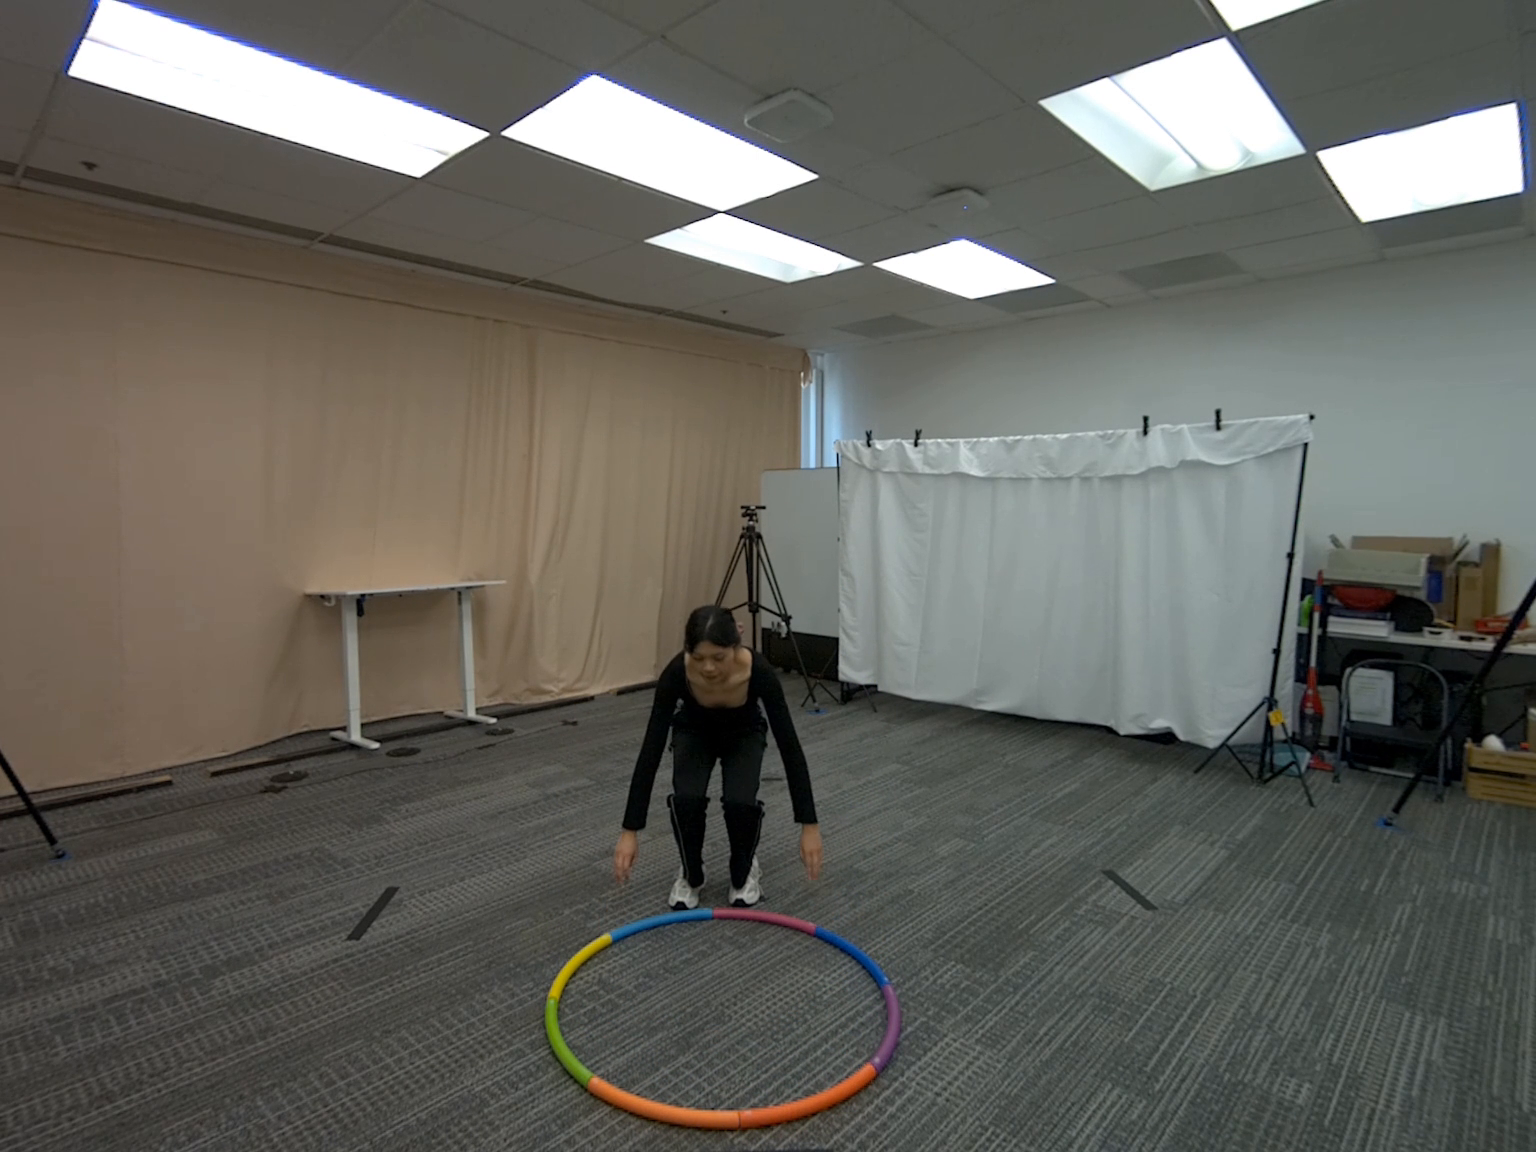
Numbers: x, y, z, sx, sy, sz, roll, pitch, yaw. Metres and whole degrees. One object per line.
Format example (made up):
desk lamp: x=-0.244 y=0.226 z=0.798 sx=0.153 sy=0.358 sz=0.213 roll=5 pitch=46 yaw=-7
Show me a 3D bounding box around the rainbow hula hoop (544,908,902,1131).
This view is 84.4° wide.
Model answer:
rainbow hula hoop: x=-0.124 y=1.171 z=2.366 sx=0.978 sy=0.035 sz=0.982 roll=0 pitch=4 yaw=-2
